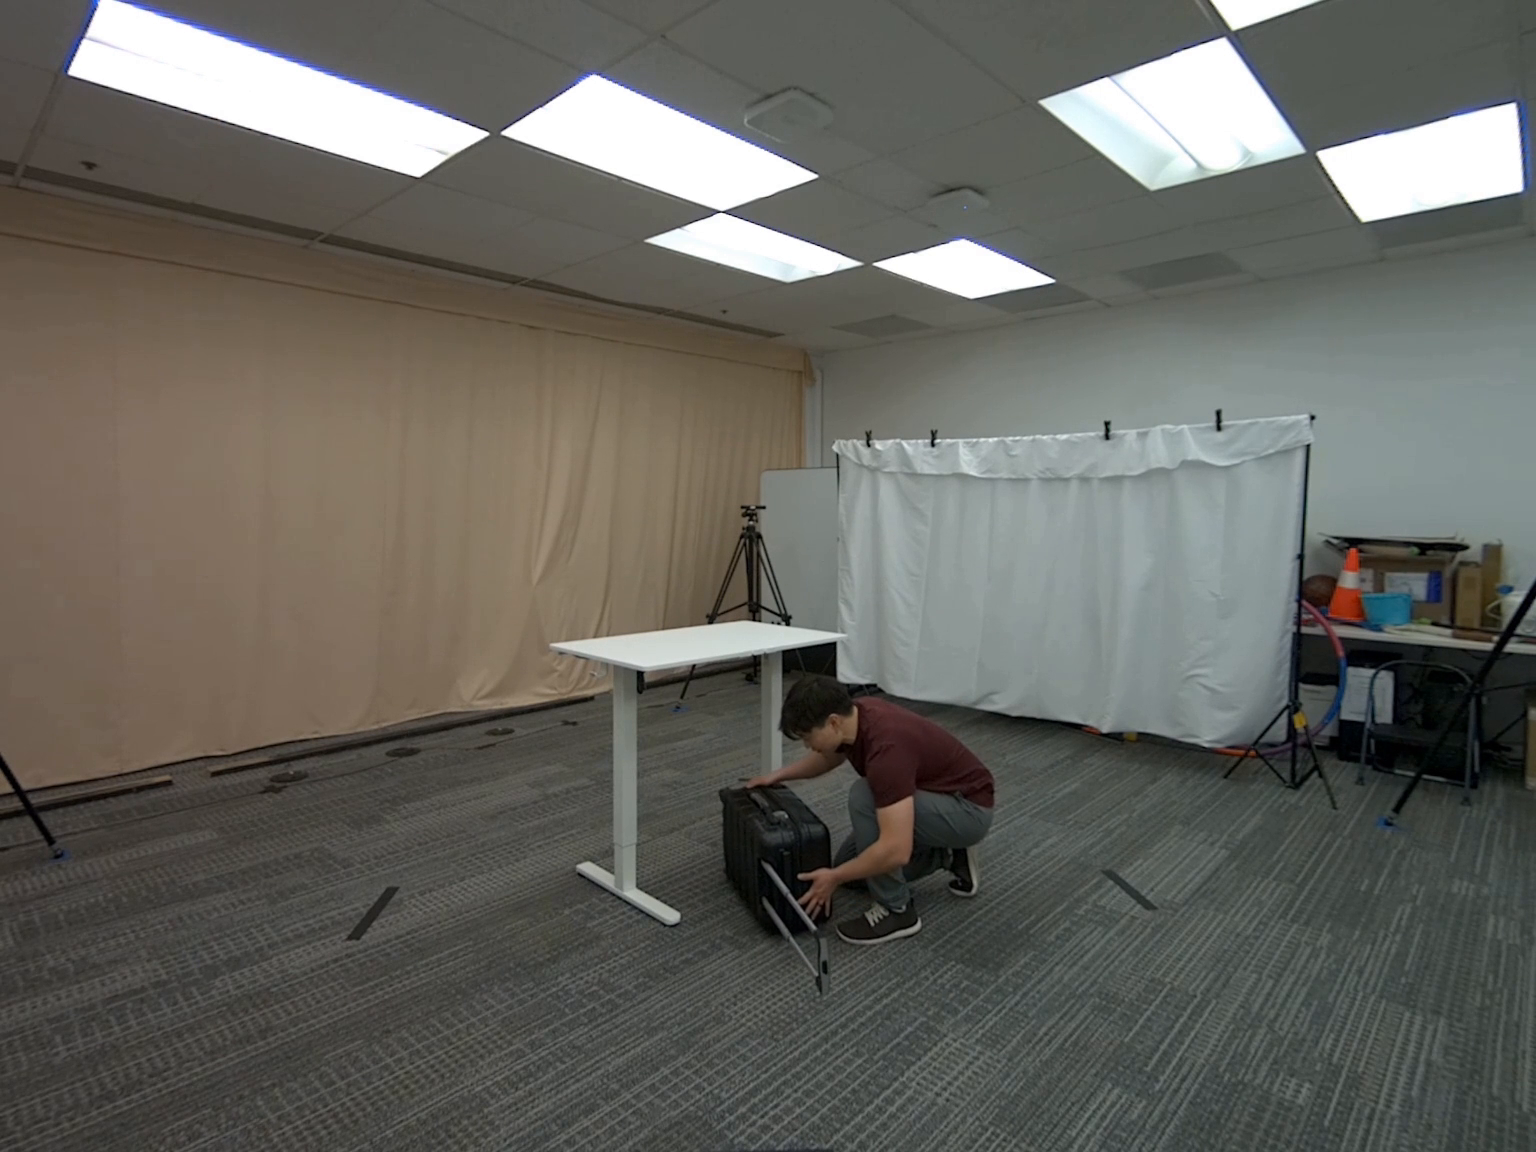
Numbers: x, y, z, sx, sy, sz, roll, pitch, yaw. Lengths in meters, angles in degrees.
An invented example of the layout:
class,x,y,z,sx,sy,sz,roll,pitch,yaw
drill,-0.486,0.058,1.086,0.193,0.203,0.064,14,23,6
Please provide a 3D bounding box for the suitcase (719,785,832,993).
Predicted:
class,x,y,z,sx,sy,sz,roll,pitch,yaw
suitcase,0.101,0.970,2.729,0.252,0.383,0.999,-3,4,-19
